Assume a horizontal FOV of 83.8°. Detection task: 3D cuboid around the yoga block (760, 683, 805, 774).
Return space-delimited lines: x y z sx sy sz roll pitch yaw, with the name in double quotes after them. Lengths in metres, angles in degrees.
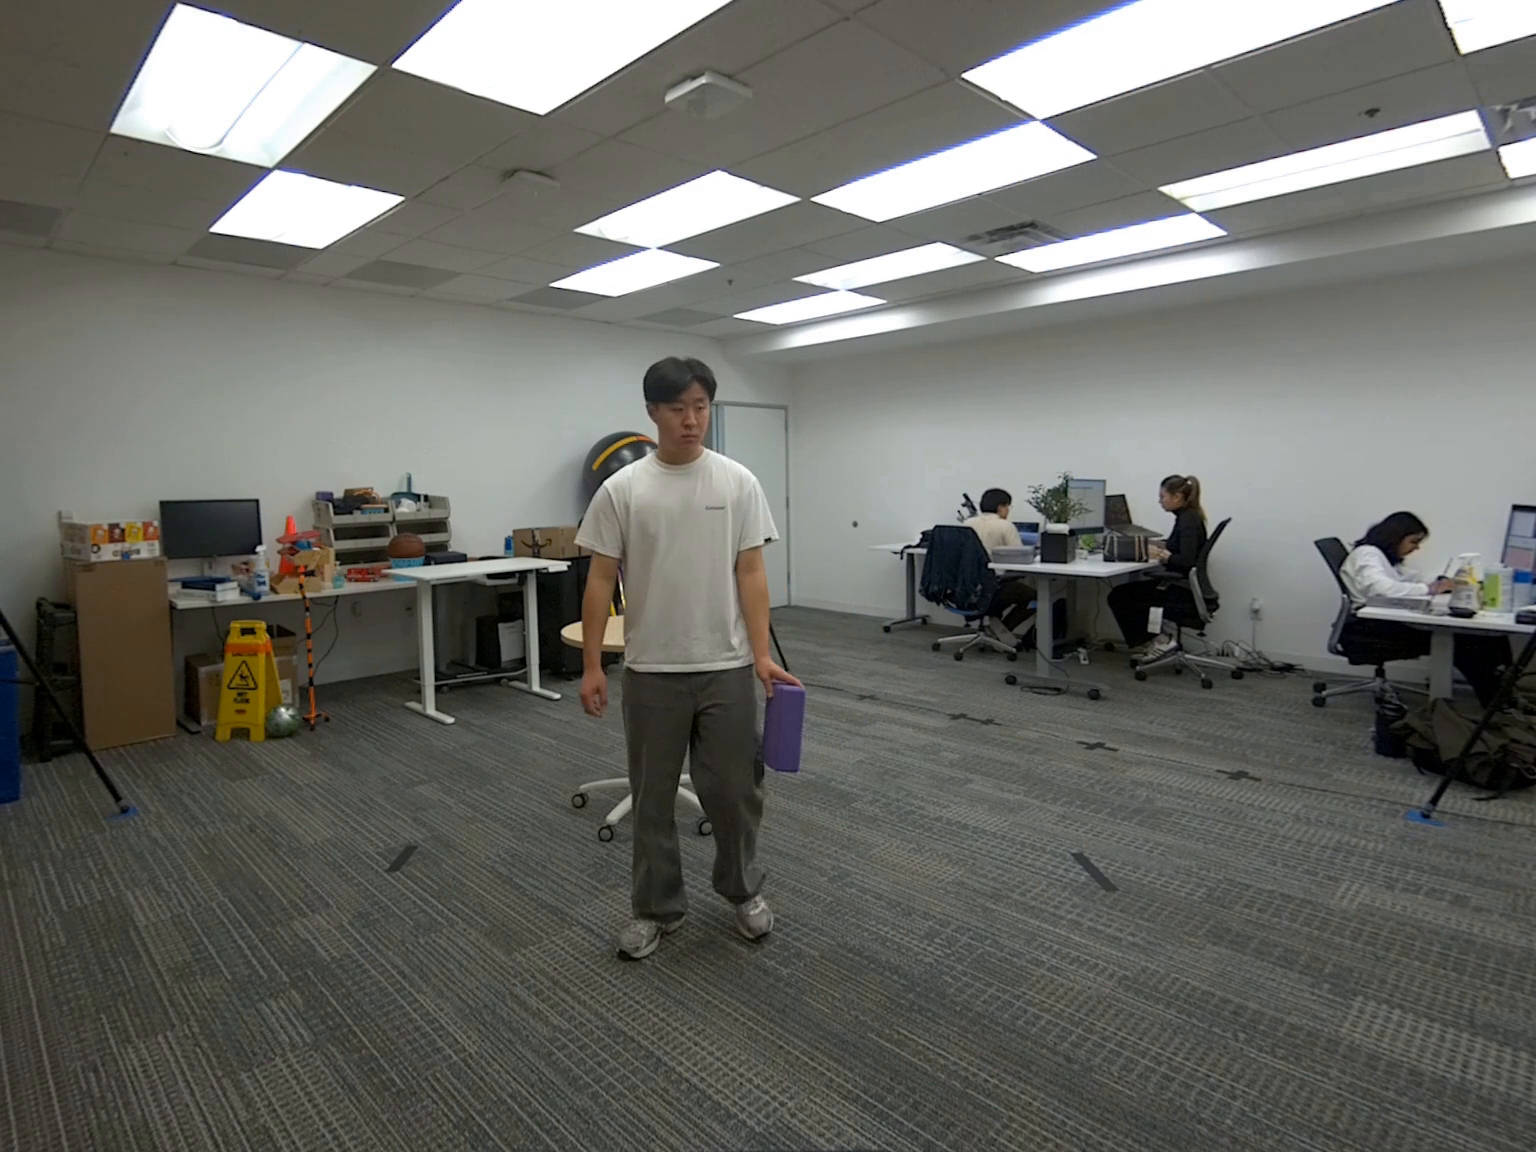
0.038 0.425 2.406 0.075 0.230 0.150 4 -4 -12 "yoga block"
